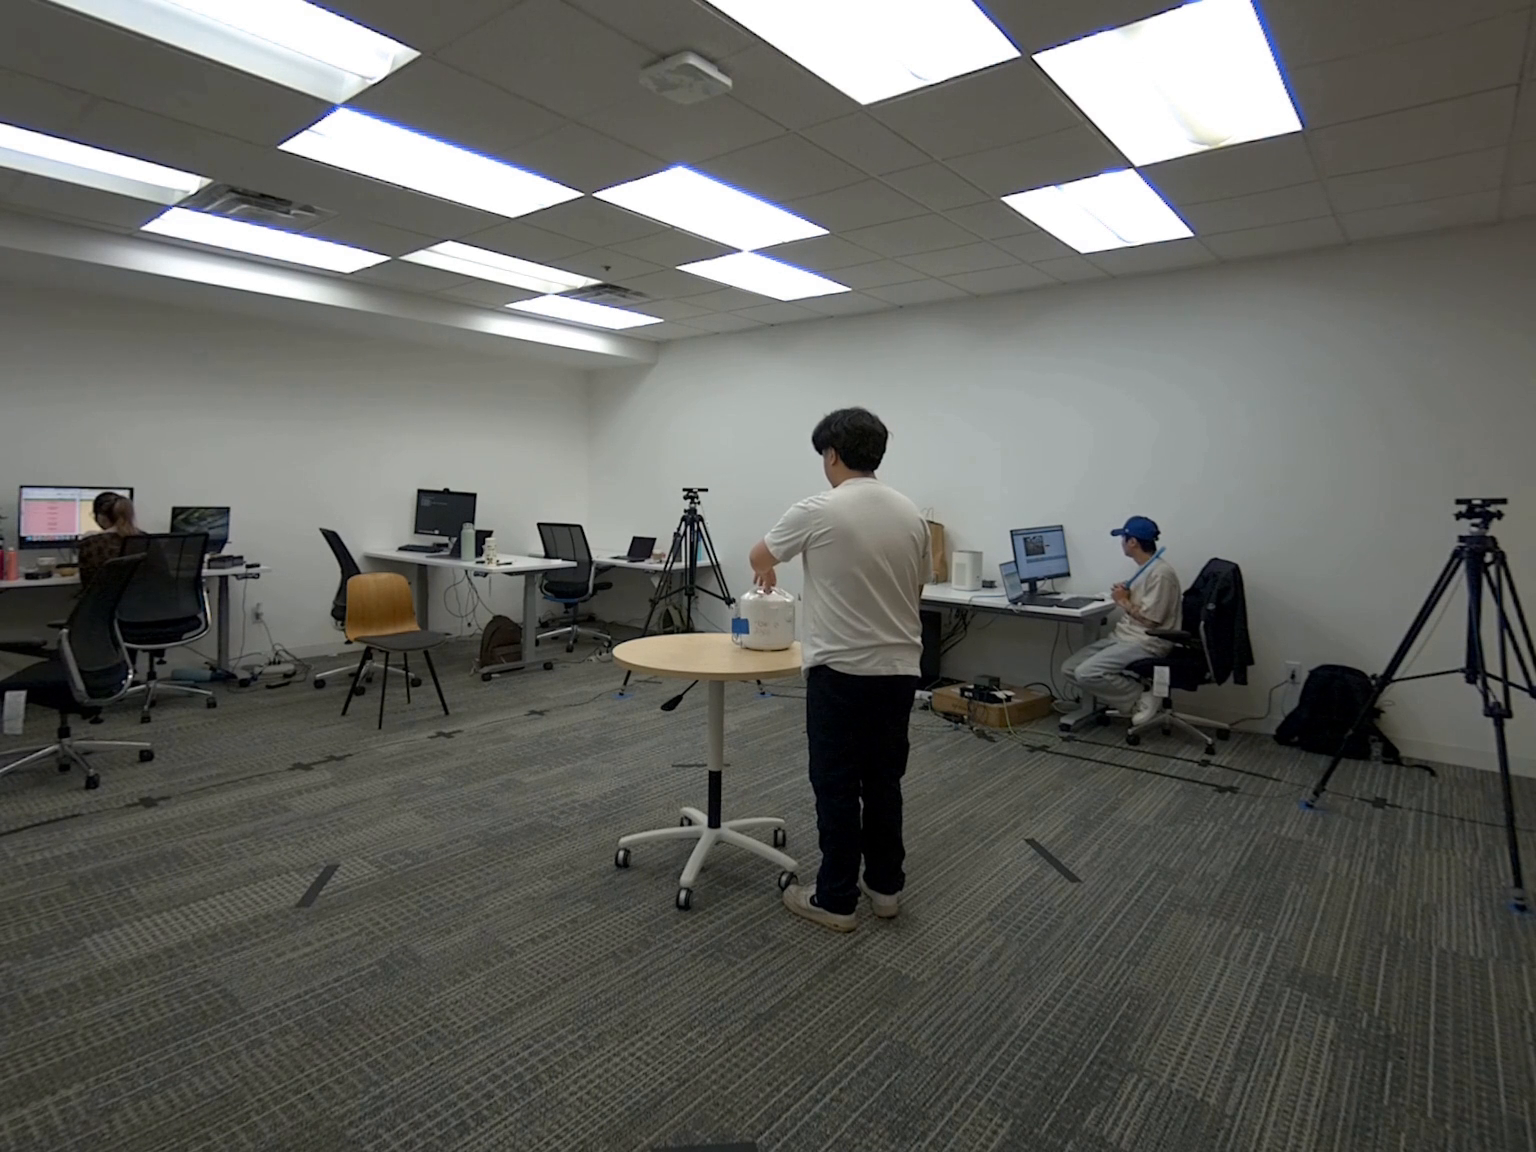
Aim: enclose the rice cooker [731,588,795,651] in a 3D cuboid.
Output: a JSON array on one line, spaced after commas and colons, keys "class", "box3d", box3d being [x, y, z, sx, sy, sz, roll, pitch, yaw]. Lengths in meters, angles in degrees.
[{"class": "rice cooker", "box3d": [-0.016, 0.151, 3.208, 0.228, 0.232, 0.211, 4, 6, 38]}]
